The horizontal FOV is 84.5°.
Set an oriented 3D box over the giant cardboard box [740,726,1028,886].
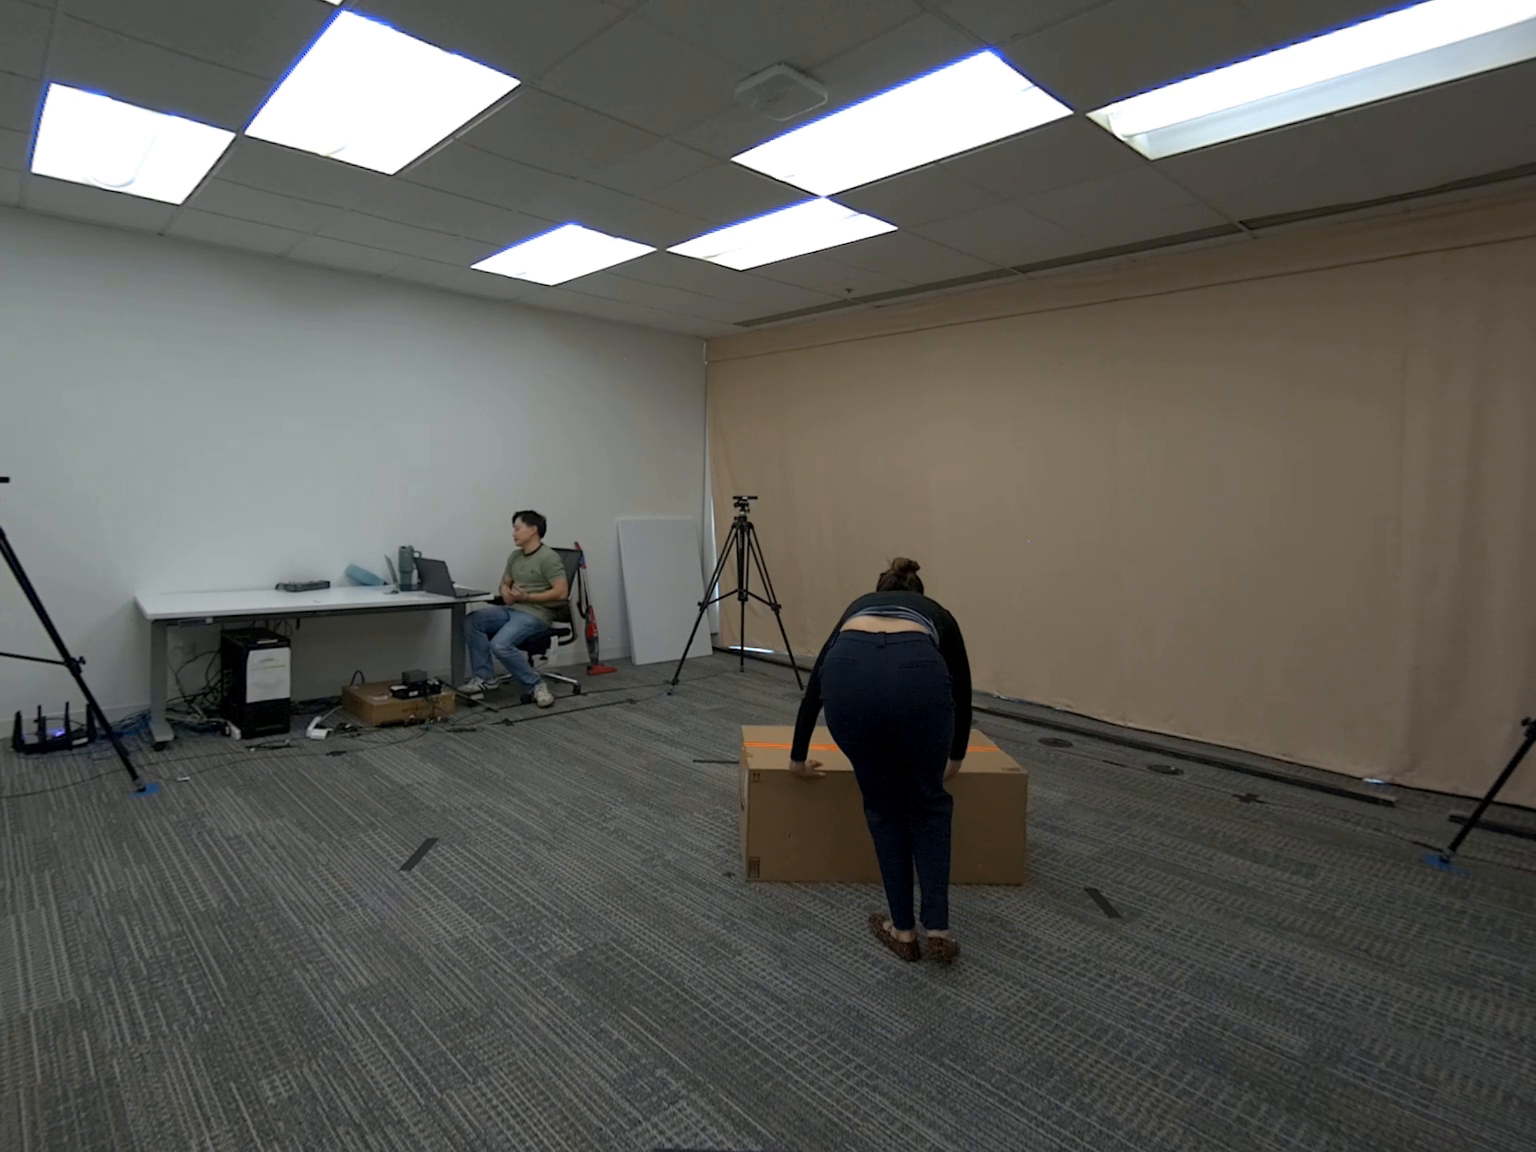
[{"bbox_3d":[0.403,0.881,3.338,1.024,0.425,0.581,1,5,-3],"label":"giant cardboard box"}]
